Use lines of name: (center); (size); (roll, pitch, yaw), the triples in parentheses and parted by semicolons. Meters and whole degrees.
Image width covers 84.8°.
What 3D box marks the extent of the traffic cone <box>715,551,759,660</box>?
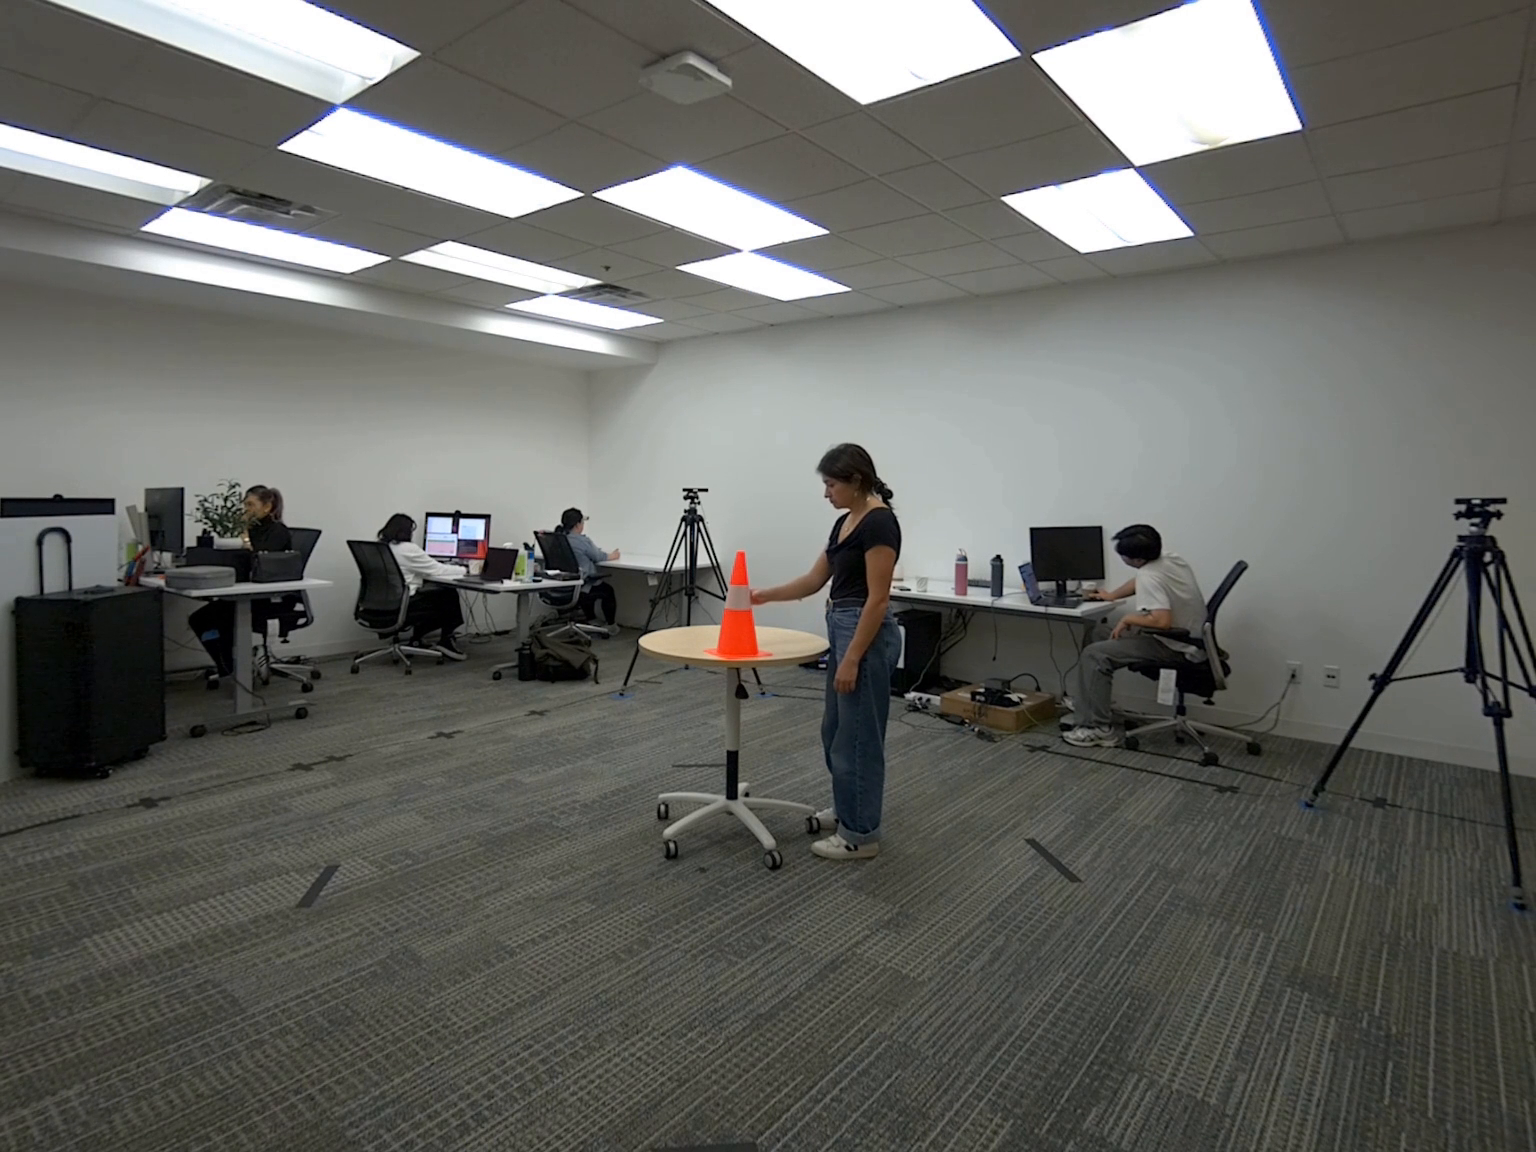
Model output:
traffic cone: (-0.104, 0.095, 3.172); (0.199, 0.382, 0.210); (1, 4, -31)
